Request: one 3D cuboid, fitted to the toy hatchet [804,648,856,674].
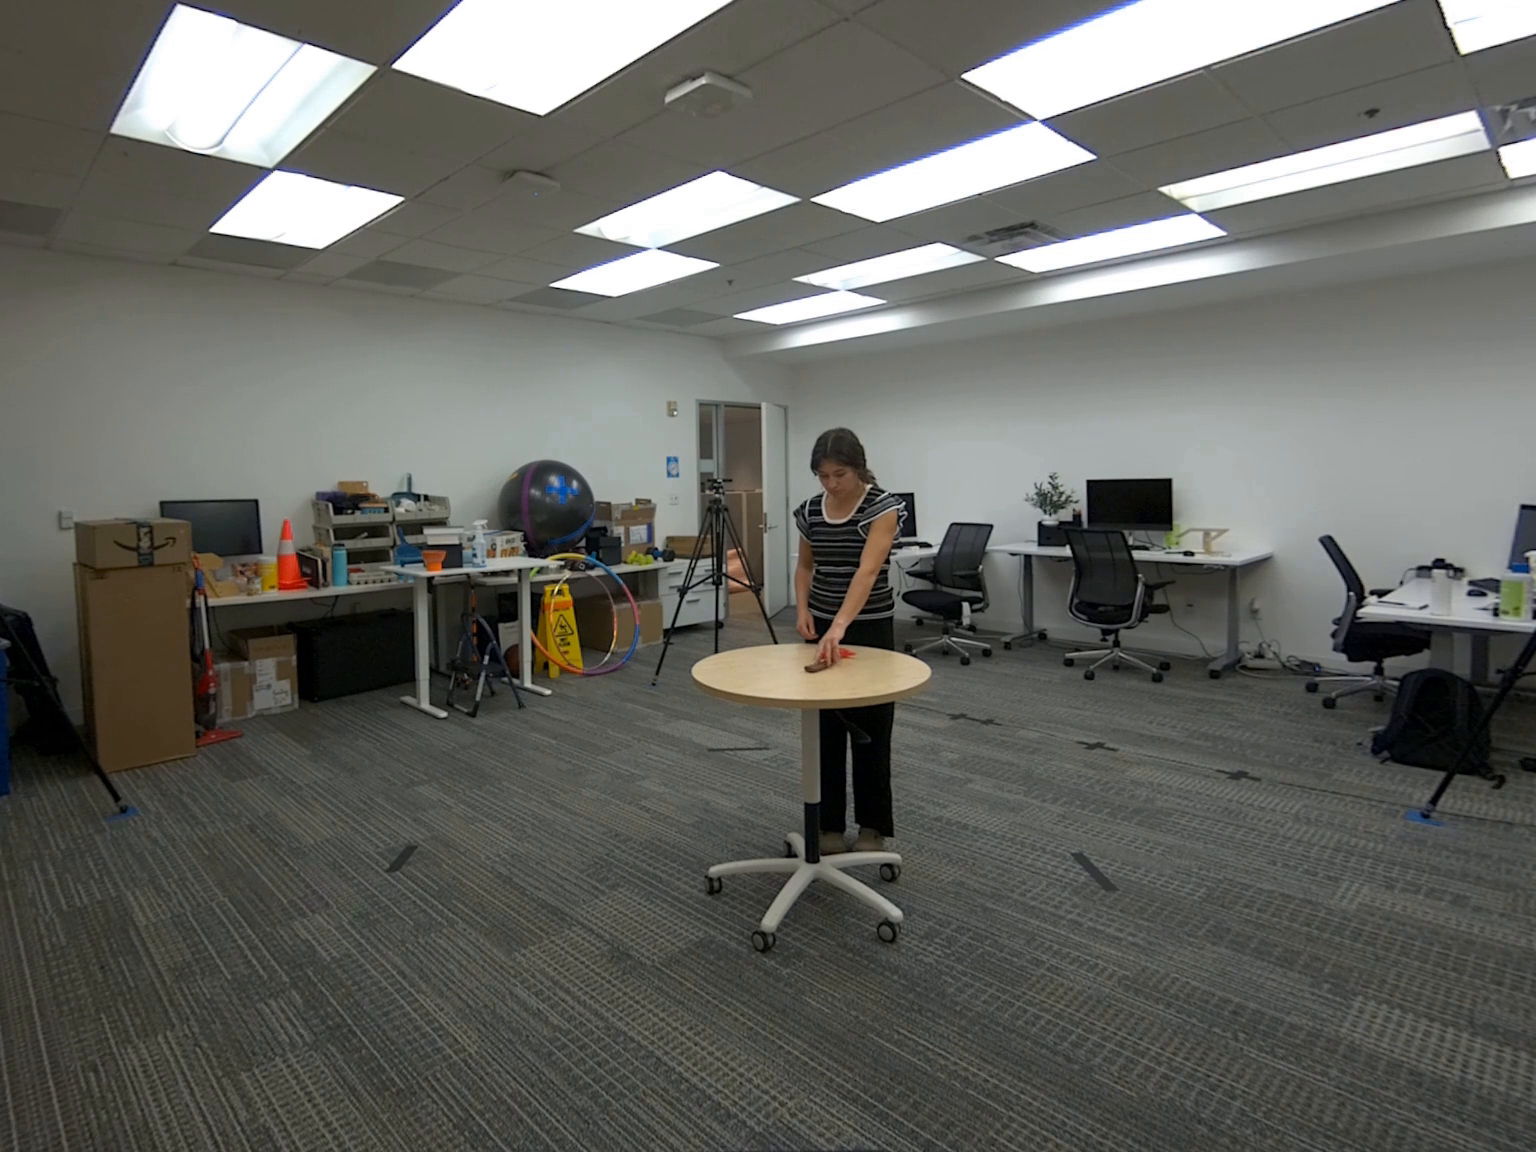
[{"bbox_3d":[0.174,0.276,2.827,0.135,0.029,0.264,9,13,35],"label":"toy hatchet"}]
